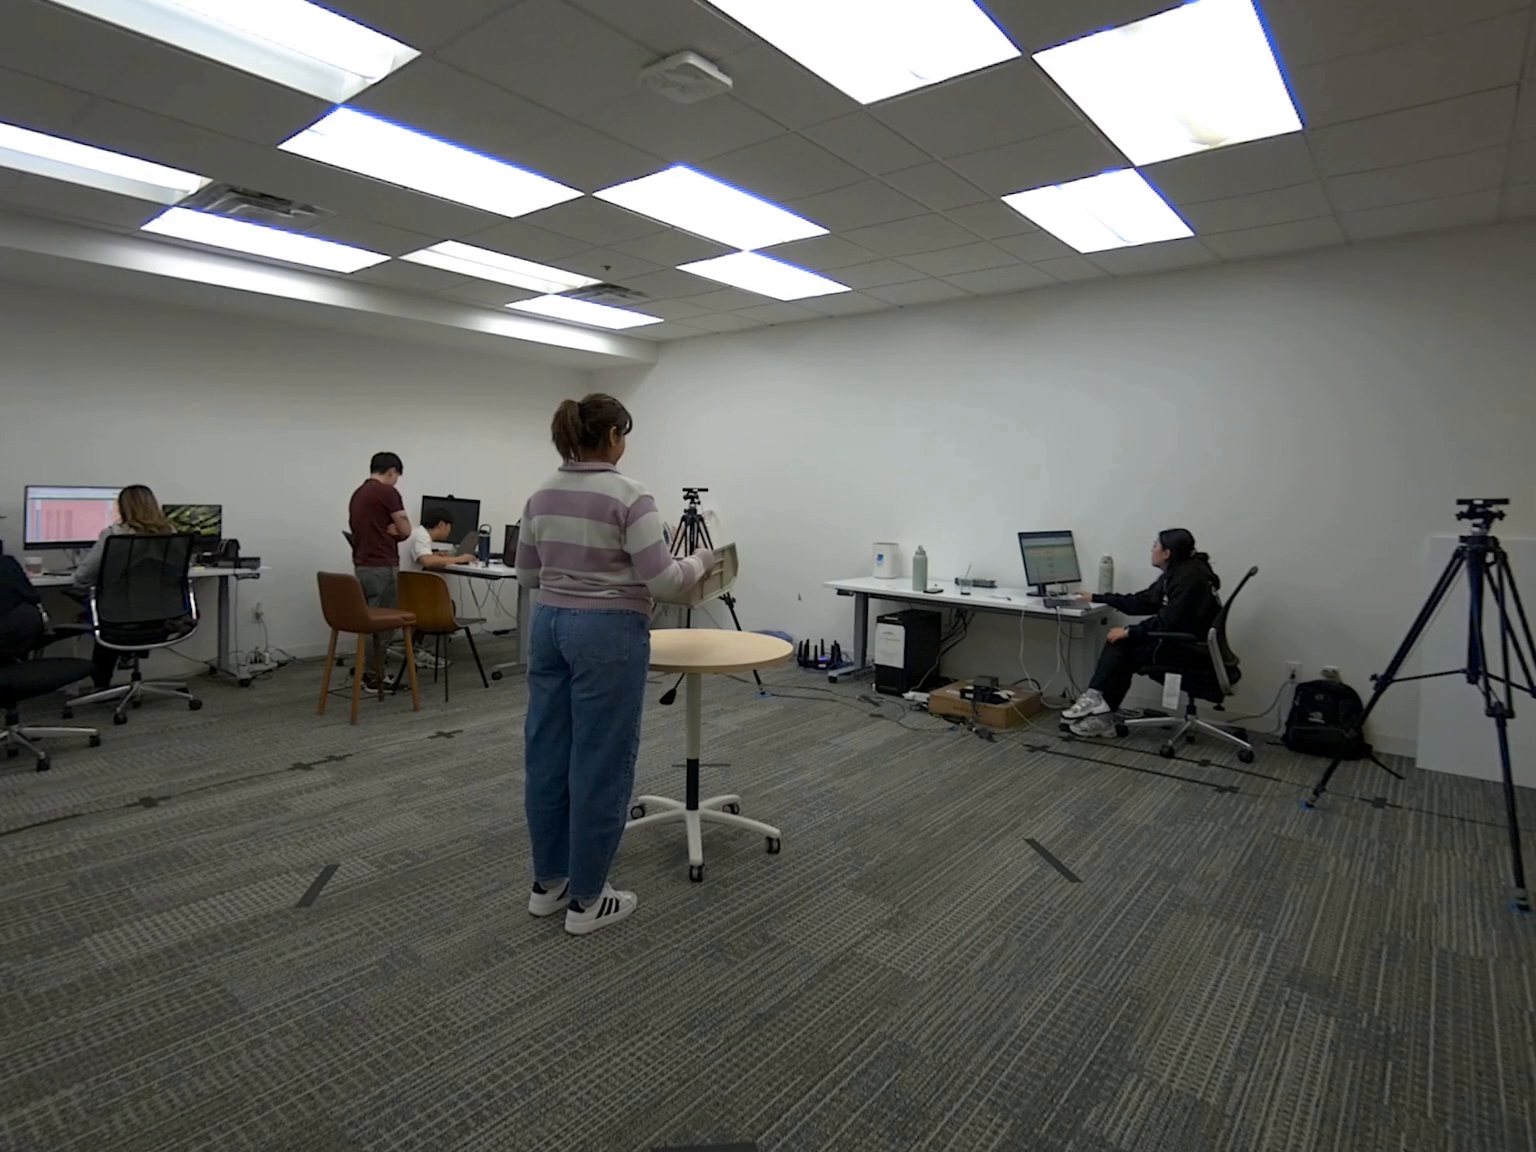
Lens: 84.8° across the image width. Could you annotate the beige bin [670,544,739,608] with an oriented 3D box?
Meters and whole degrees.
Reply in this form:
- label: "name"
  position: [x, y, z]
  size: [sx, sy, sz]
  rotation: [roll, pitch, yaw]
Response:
- label: "beige bin"
  position: [-0.380, -0.017, 3.107]
  size: [0.433, 0.187, 0.372]
  rotation: [5, 14, 23]
